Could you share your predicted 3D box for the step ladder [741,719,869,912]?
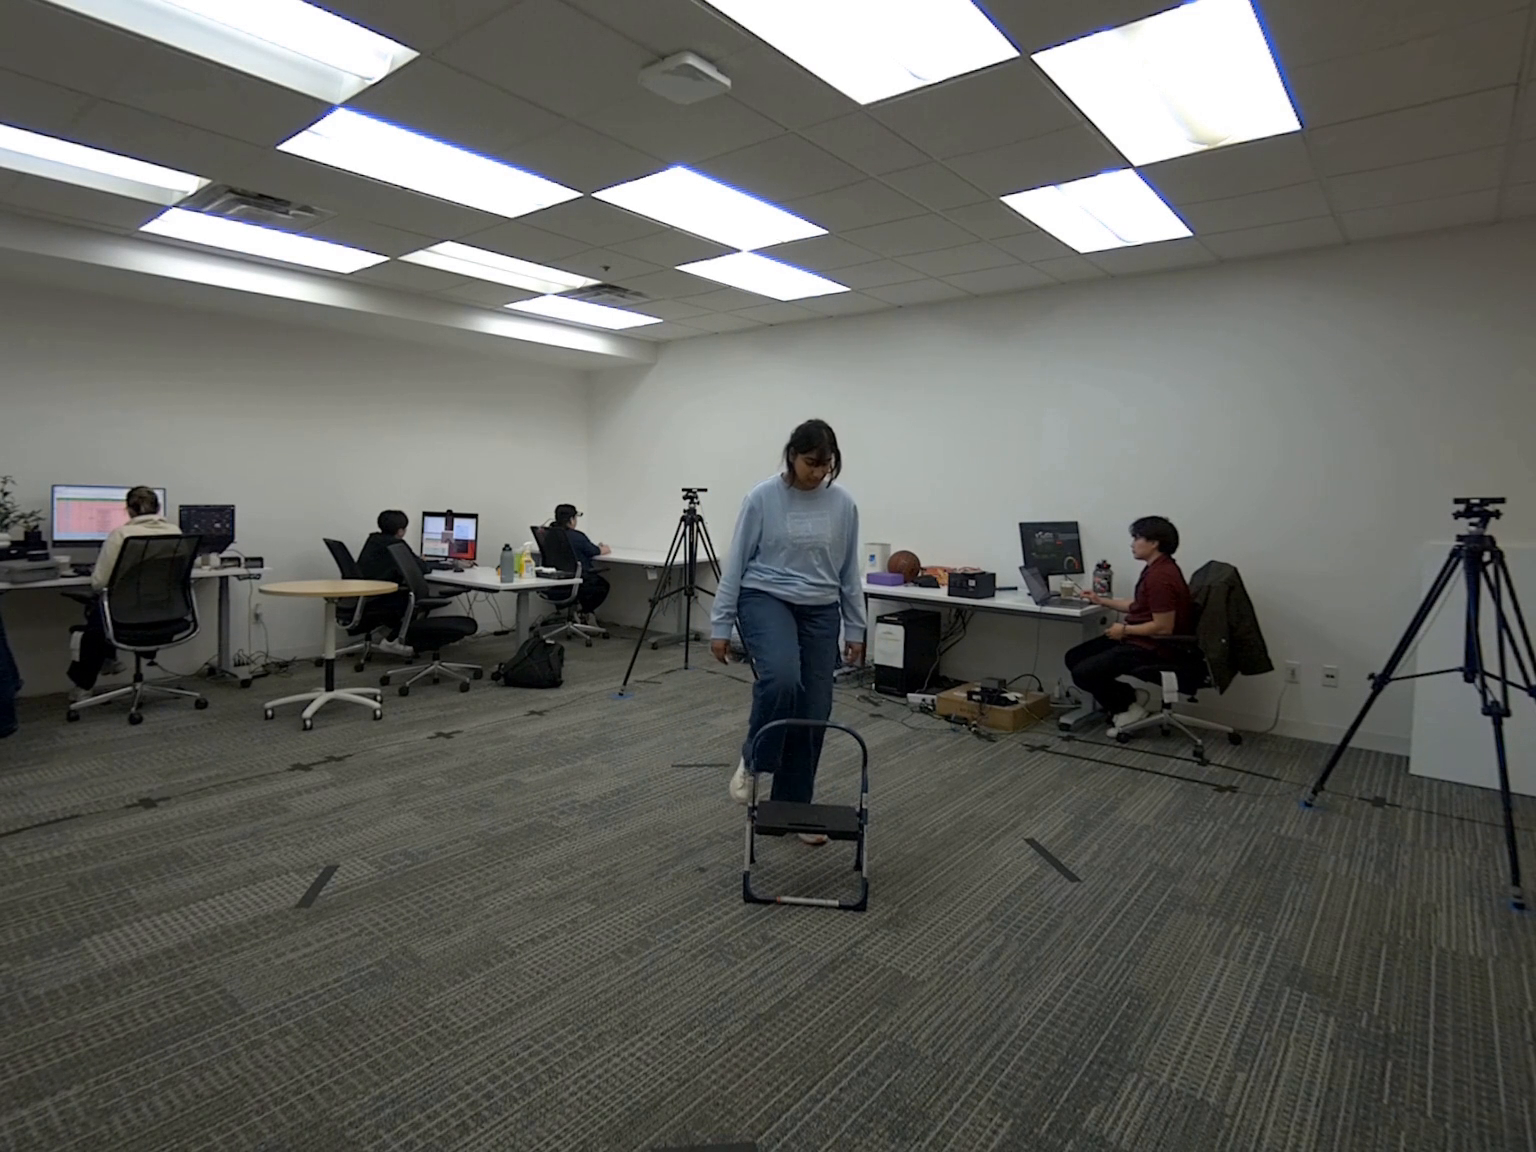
[{"bbox_3d":[0.132,0.786,2.996,0.433,0.605,0.348,1,3,4],"label":"step ladder"}]
